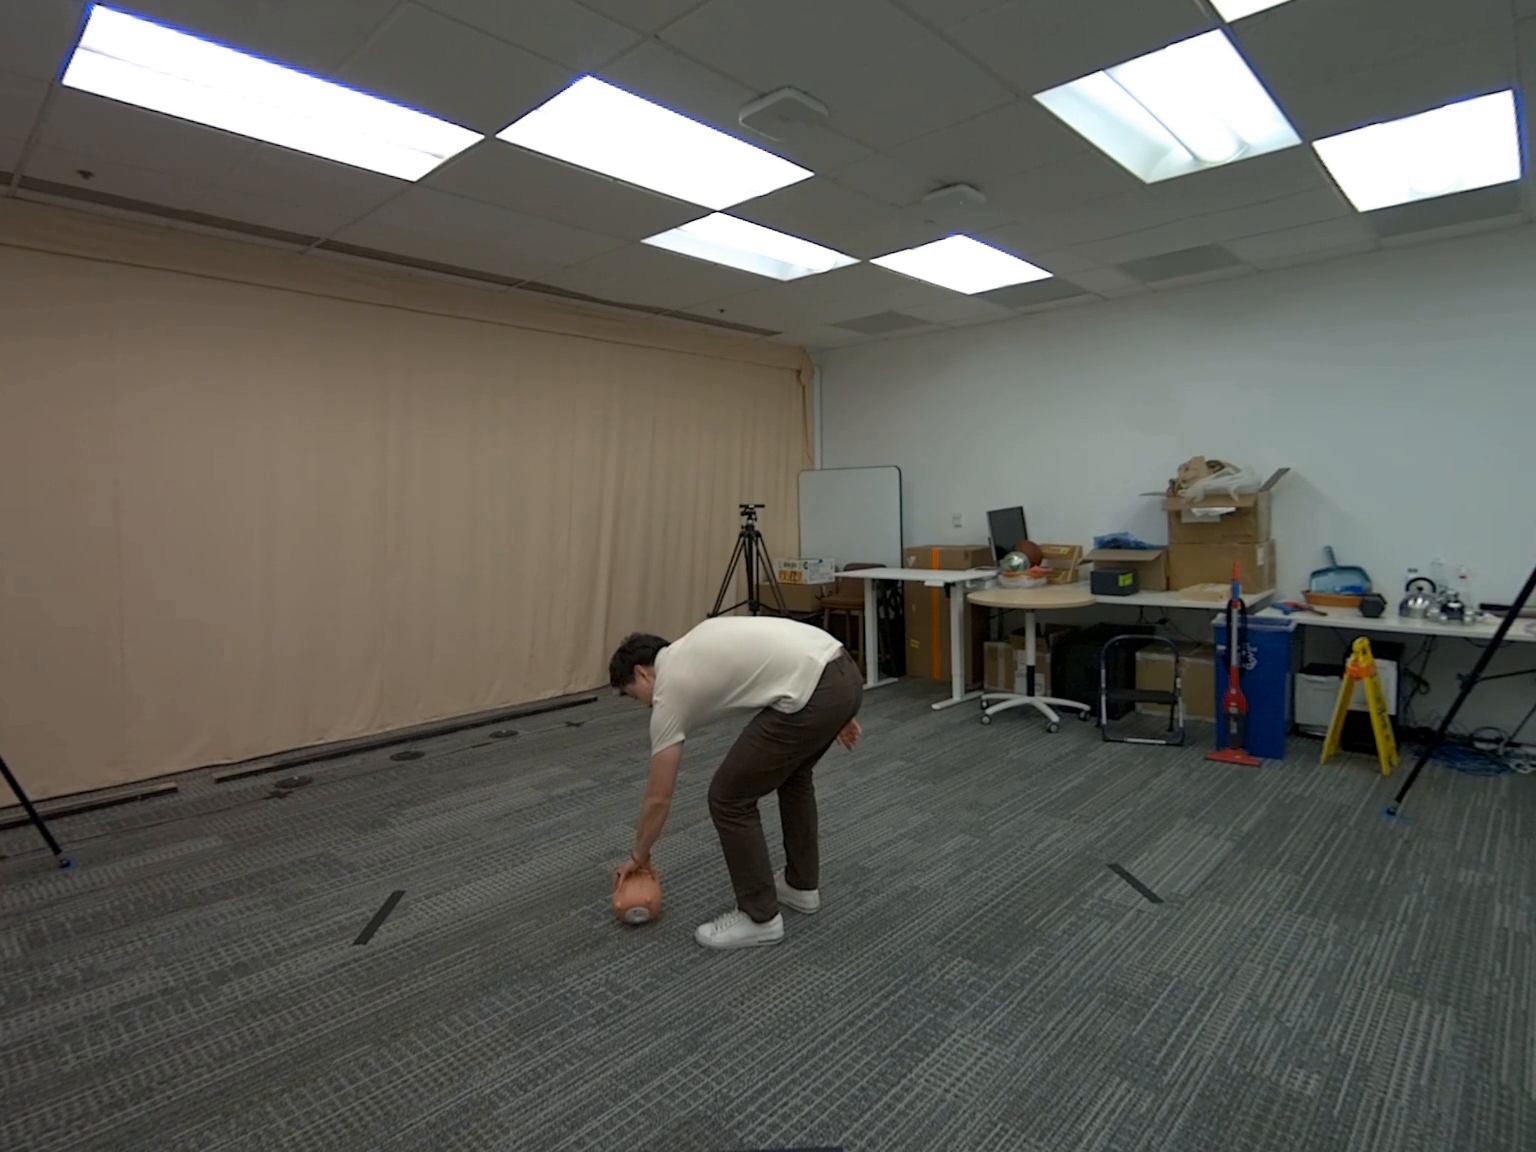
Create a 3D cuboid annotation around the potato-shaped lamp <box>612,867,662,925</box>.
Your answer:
[{"bbox_3d":[-0.442,1.064,2.833,0.165,0.167,0.202,-11,39,4],"label":"potato-shaped lamp"}]
